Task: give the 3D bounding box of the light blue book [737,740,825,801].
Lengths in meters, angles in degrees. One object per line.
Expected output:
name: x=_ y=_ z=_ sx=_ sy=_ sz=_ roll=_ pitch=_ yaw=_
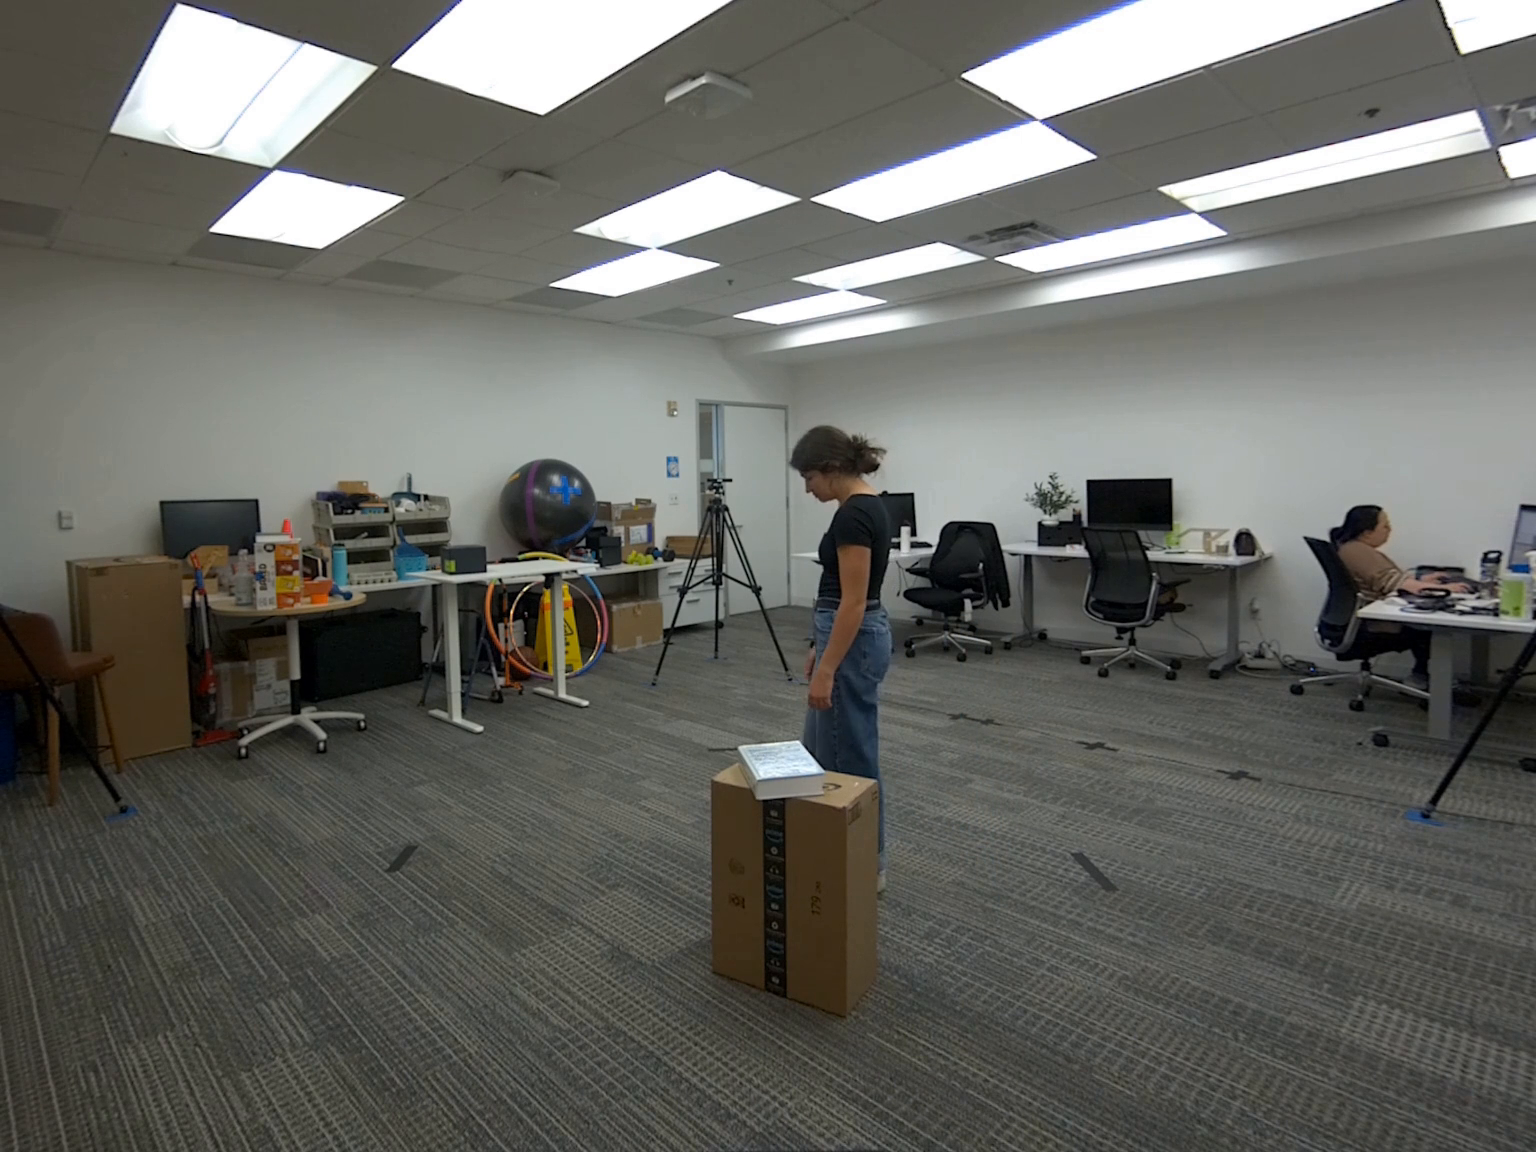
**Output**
light blue book: x=0.036 y=0.539 z=2.367 sx=0.189 sy=0.059 sz=0.265 roll=-3 pitch=7 yaw=-12
